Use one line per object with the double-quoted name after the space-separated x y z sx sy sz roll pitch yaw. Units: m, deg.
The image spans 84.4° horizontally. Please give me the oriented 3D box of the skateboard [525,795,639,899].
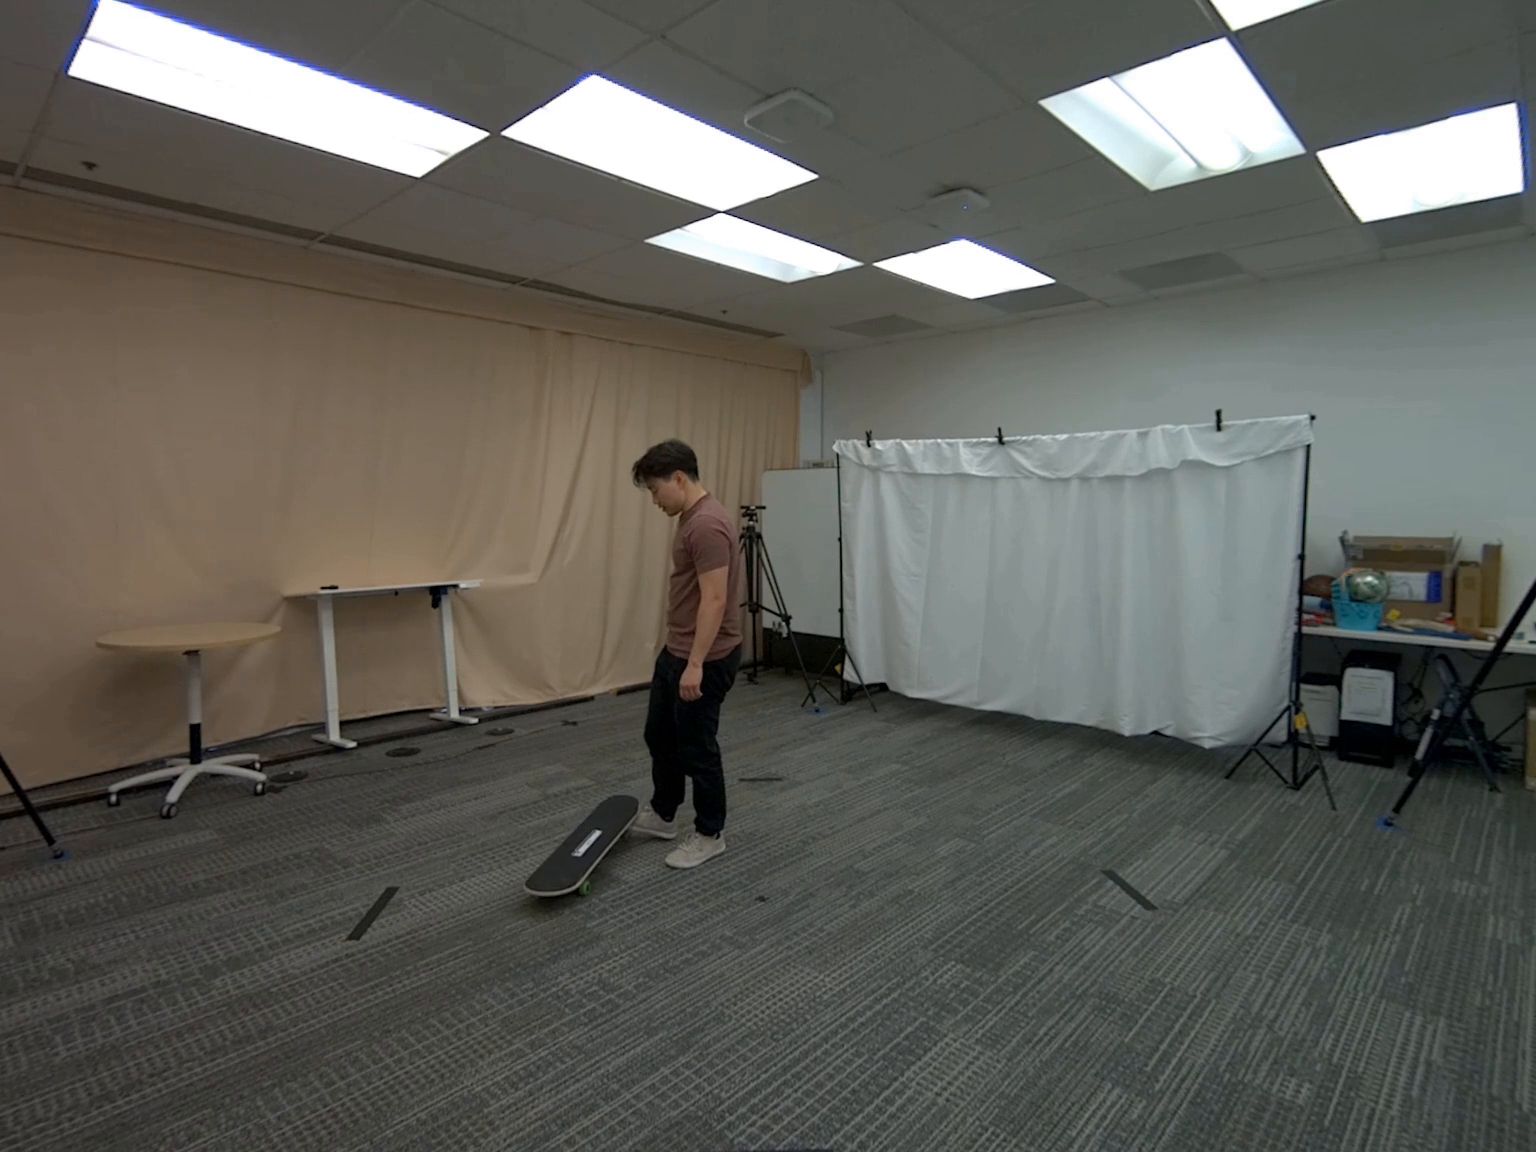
-0.694 1.059 3.227 0.196 0.110 0.777 1 10 13 "skateboard"
